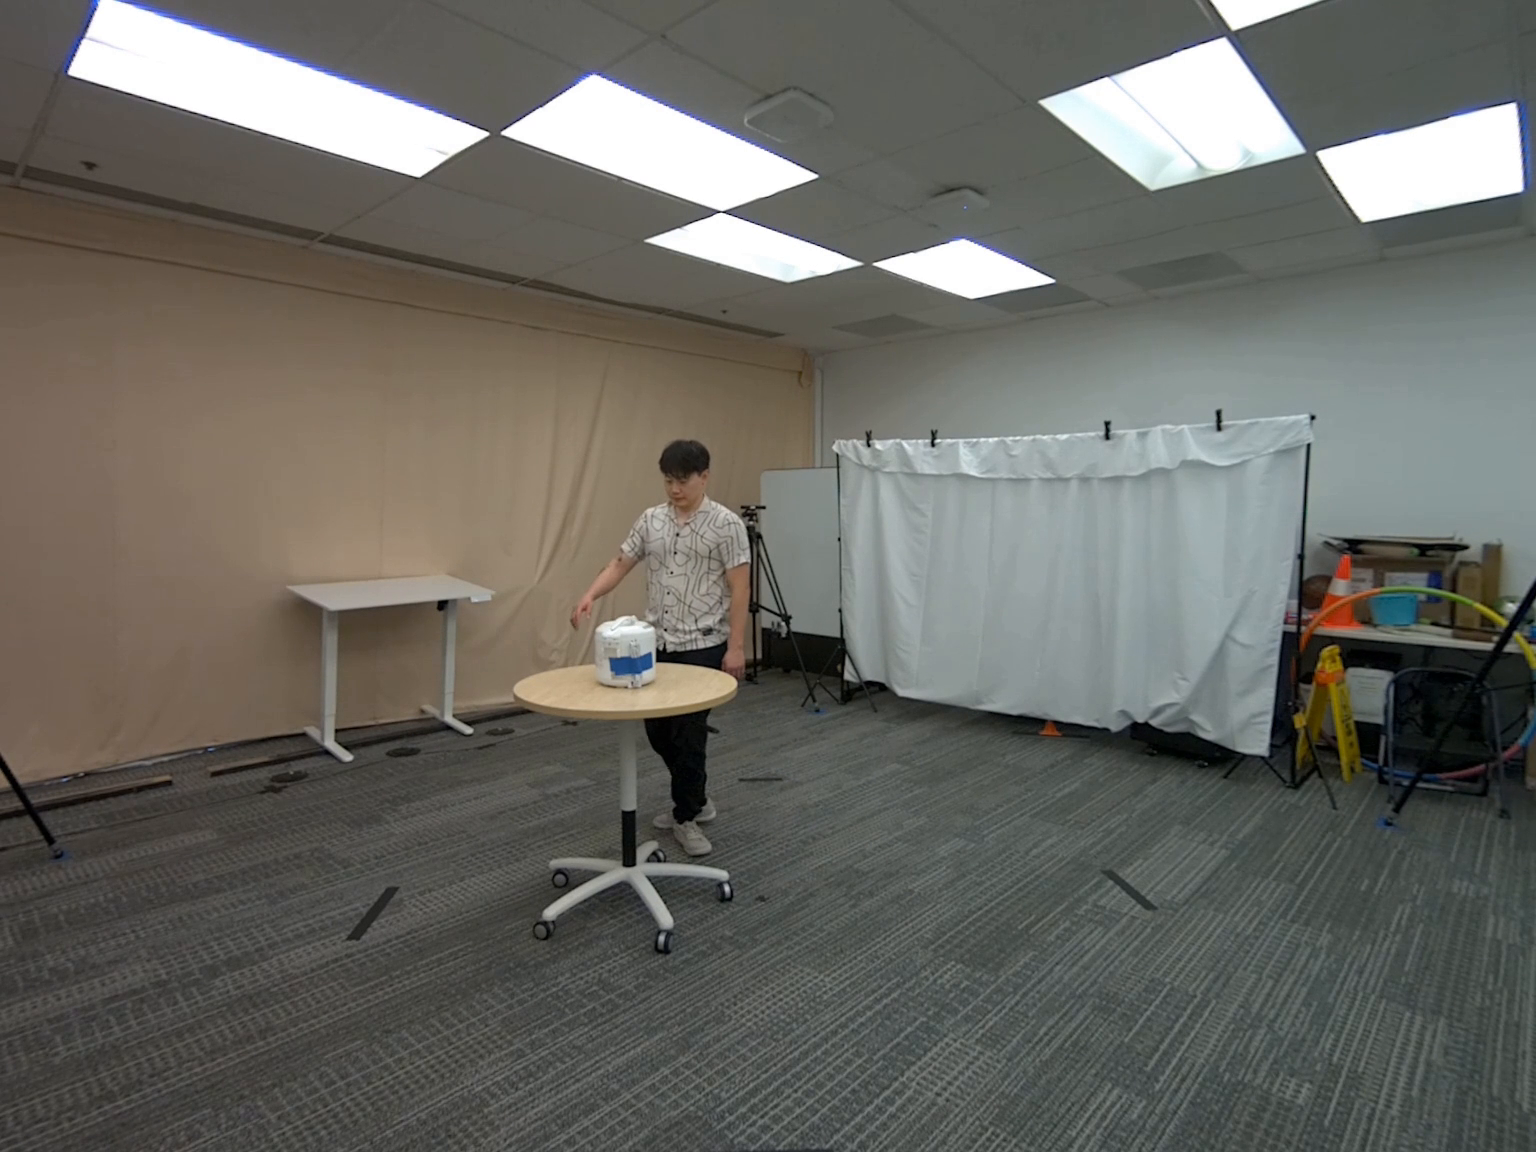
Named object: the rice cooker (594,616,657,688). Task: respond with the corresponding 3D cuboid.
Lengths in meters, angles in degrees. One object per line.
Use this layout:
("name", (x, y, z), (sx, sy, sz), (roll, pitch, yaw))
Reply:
("rice cooker", (-0.492, 0.254, 2.913), (0.222, 0.232, 0.216), (3, 4, 21))
